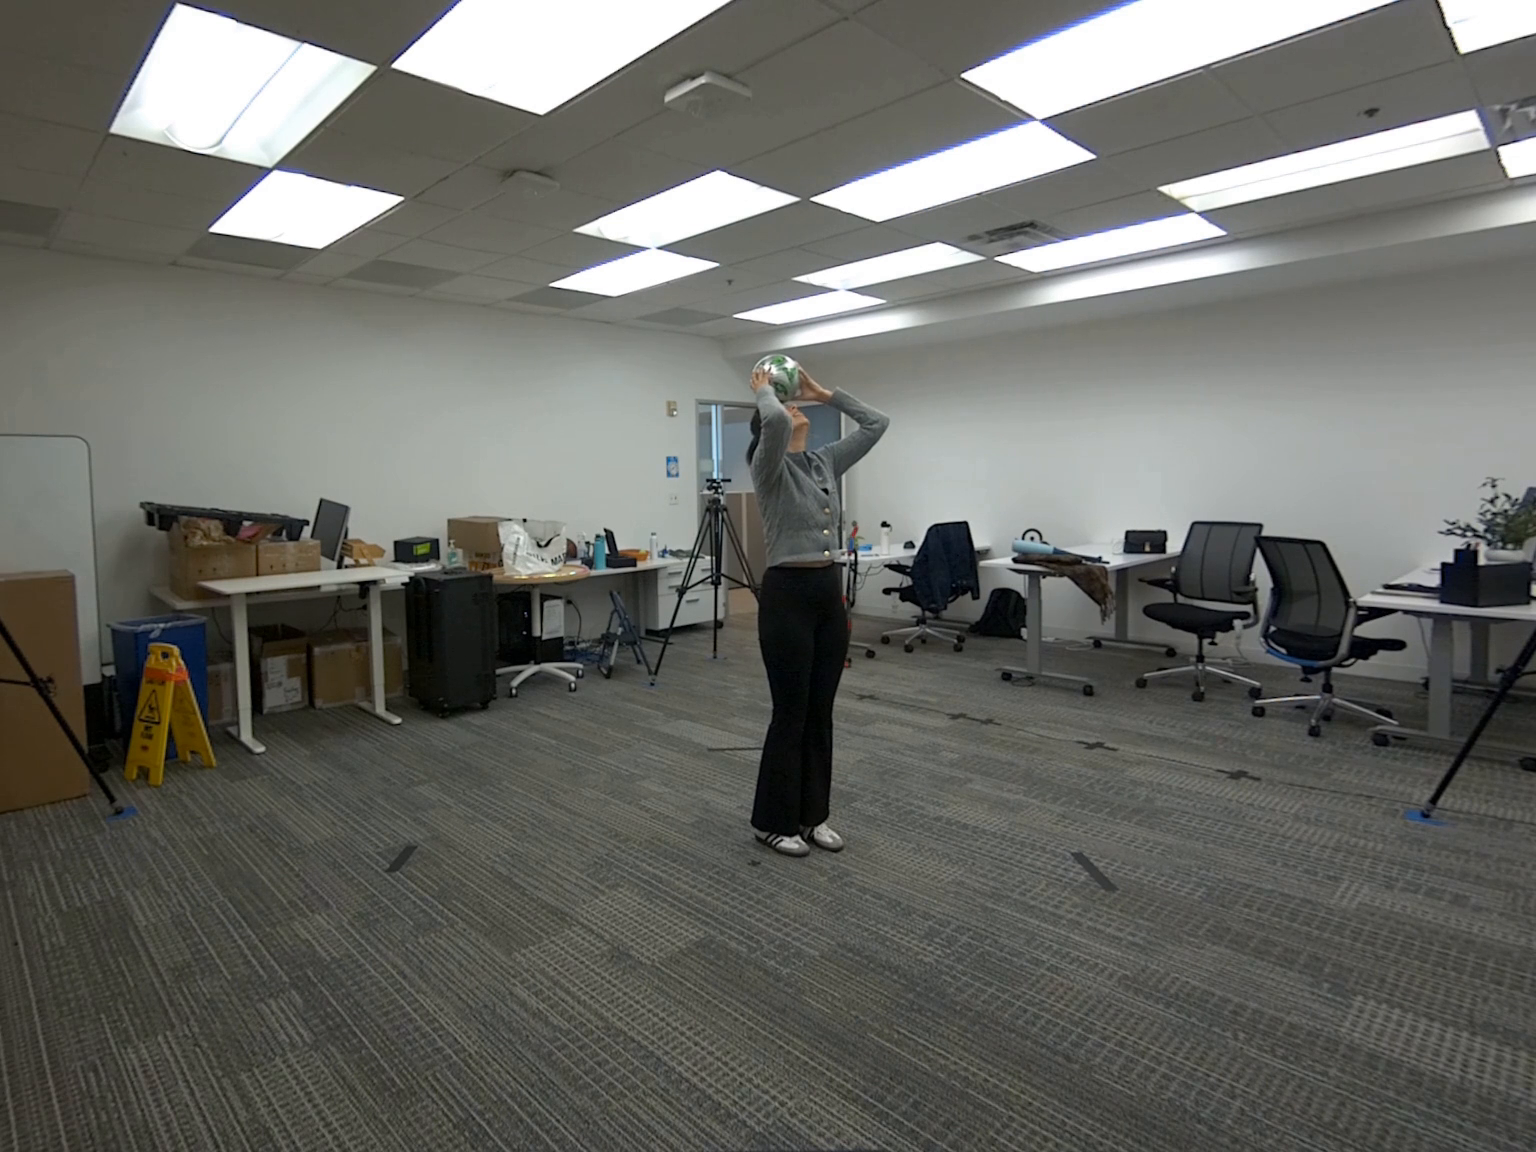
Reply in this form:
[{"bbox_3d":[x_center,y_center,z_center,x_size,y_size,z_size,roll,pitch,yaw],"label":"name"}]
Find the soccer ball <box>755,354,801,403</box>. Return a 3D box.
[{"bbox_3d":[0.029,-0.745,3.249,0.187,0.187,0.188,-1,5,-2],"label":"soccer ball"}]
